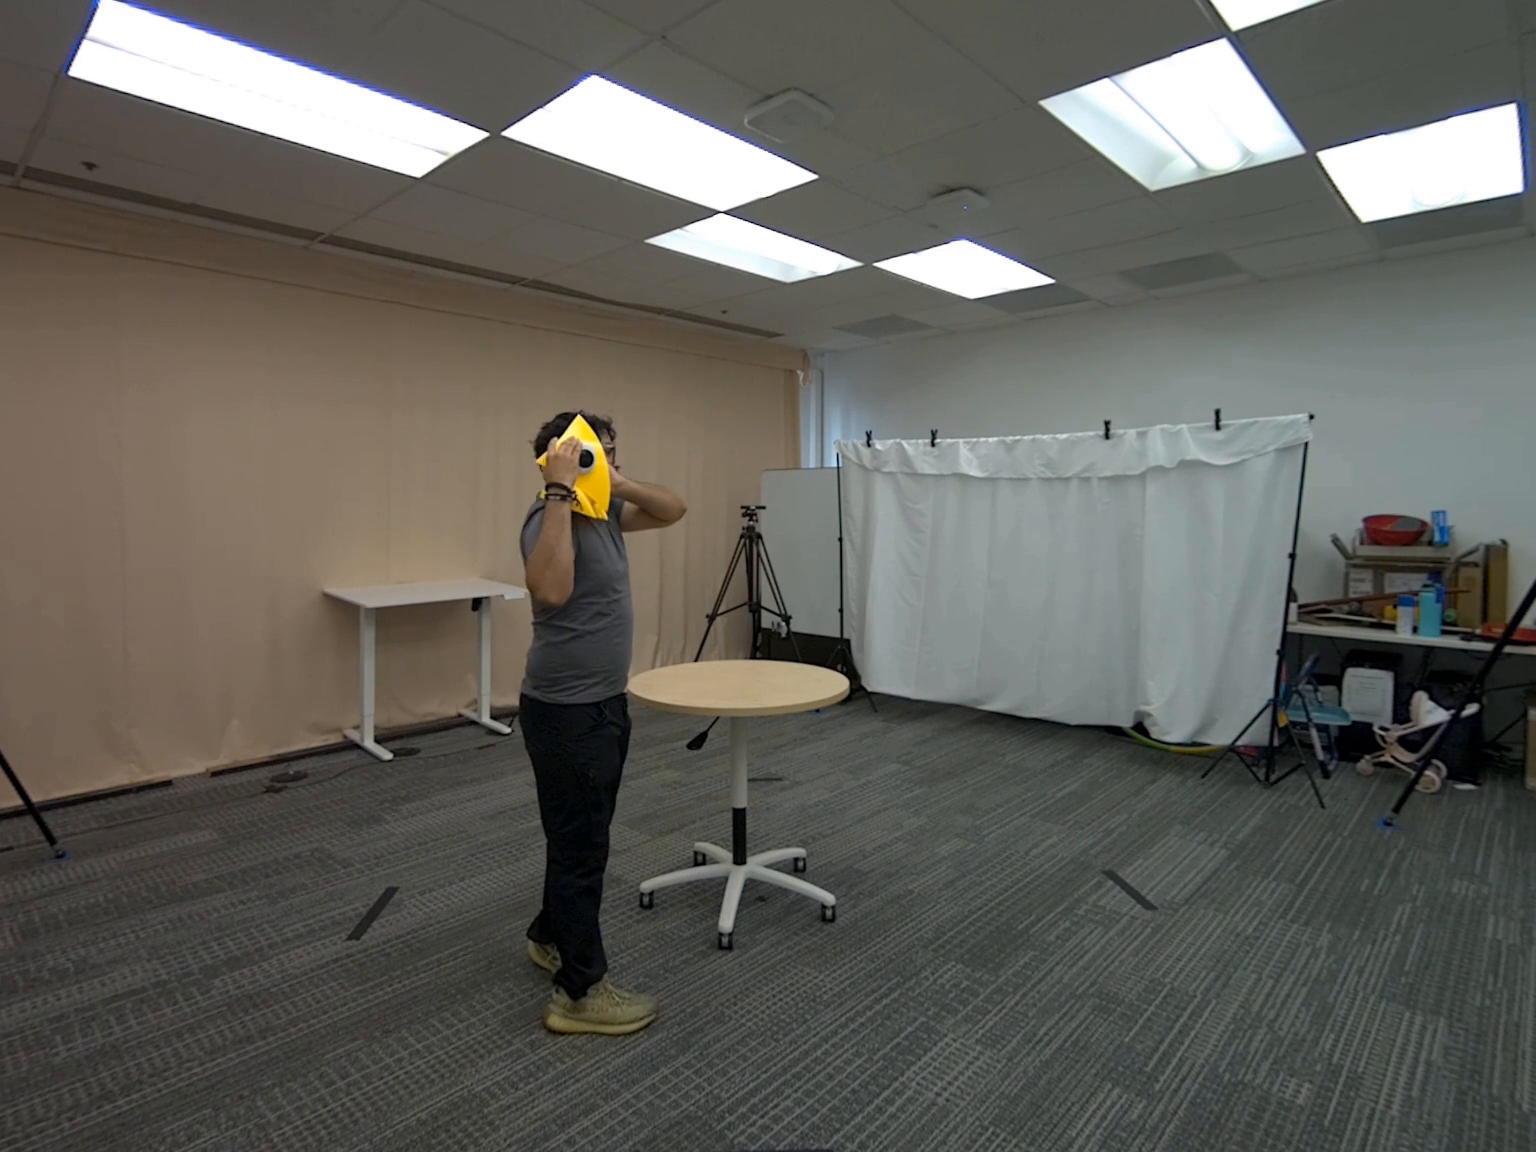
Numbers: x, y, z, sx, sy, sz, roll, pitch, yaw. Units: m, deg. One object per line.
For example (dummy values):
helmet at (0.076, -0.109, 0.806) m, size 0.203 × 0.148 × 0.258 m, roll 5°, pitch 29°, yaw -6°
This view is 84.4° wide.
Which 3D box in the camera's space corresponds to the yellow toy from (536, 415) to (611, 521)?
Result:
yellow toy at (-0.470, -0.283, 2.154) m, size 0.194 × 0.230 × 0.204 m, roll 20°, pitch 1°, yaw 3°
